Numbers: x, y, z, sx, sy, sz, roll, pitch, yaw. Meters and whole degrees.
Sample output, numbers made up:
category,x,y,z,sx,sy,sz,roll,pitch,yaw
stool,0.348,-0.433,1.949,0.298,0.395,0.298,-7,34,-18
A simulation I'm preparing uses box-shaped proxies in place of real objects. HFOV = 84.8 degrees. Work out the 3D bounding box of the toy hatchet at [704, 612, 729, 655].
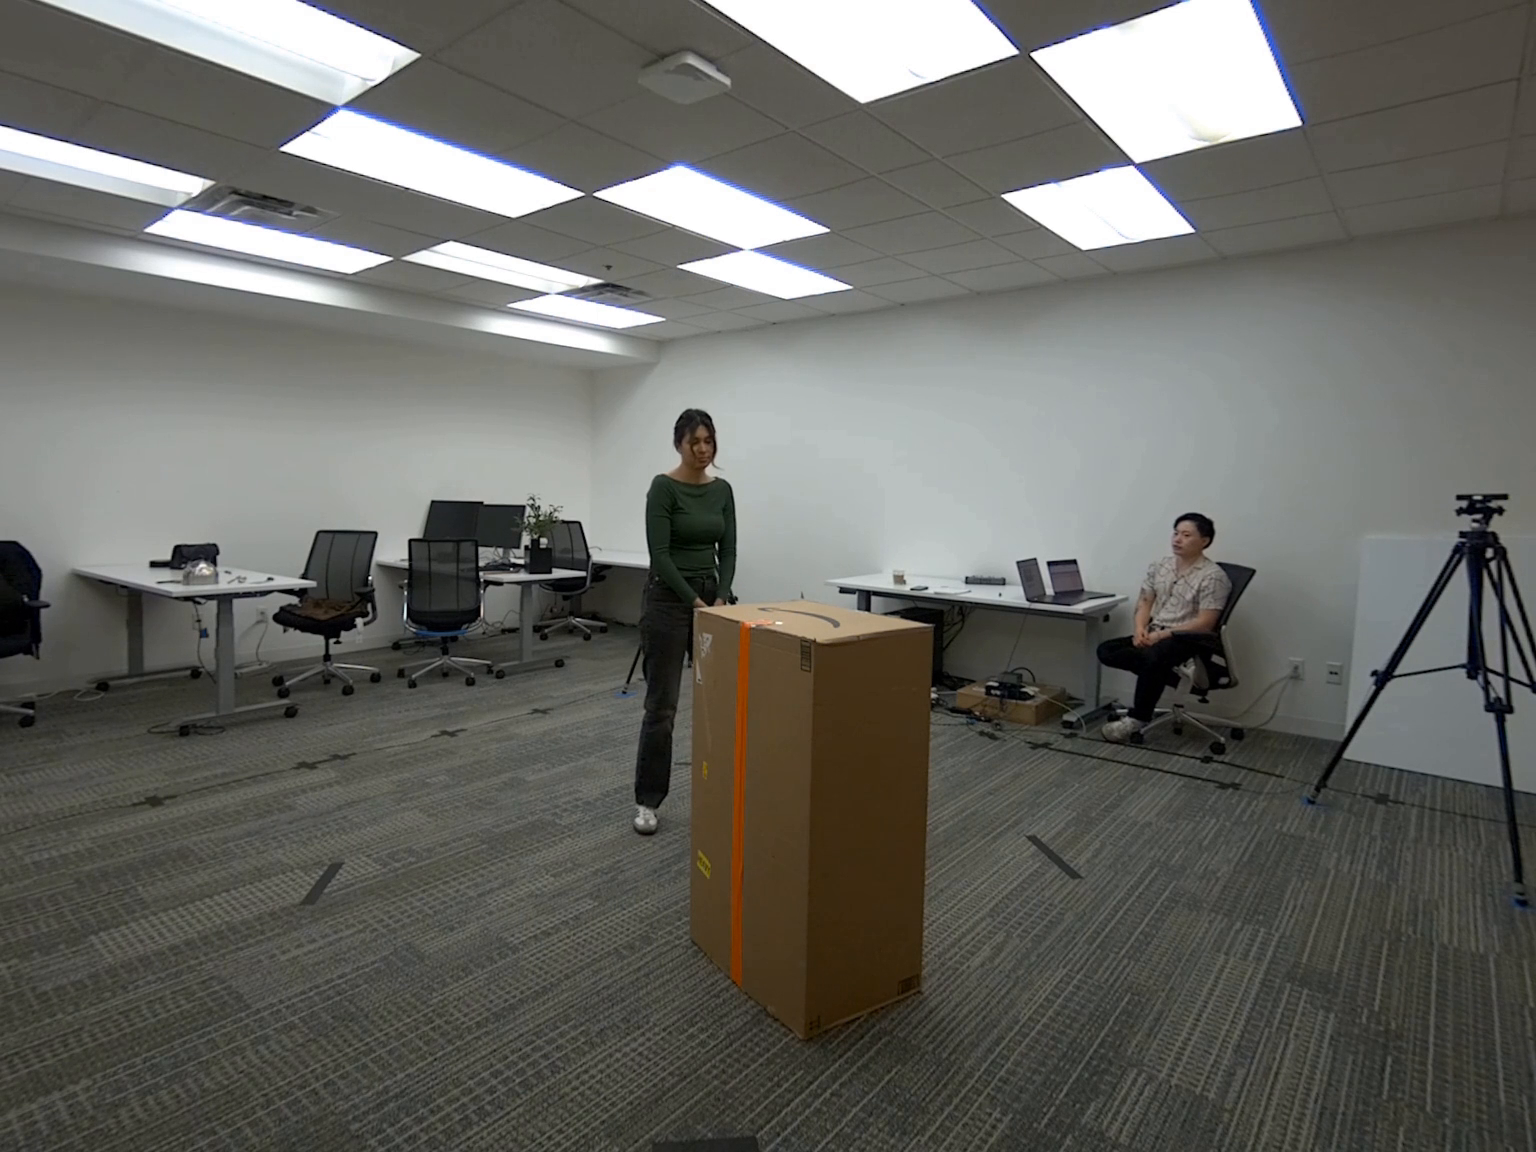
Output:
category,x,y,z,sx,sy,sz,roll,pitch,yaw
toy hatchet,-0.206,0.224,3.352,0.029,0.131,0.270,-27,3,1
